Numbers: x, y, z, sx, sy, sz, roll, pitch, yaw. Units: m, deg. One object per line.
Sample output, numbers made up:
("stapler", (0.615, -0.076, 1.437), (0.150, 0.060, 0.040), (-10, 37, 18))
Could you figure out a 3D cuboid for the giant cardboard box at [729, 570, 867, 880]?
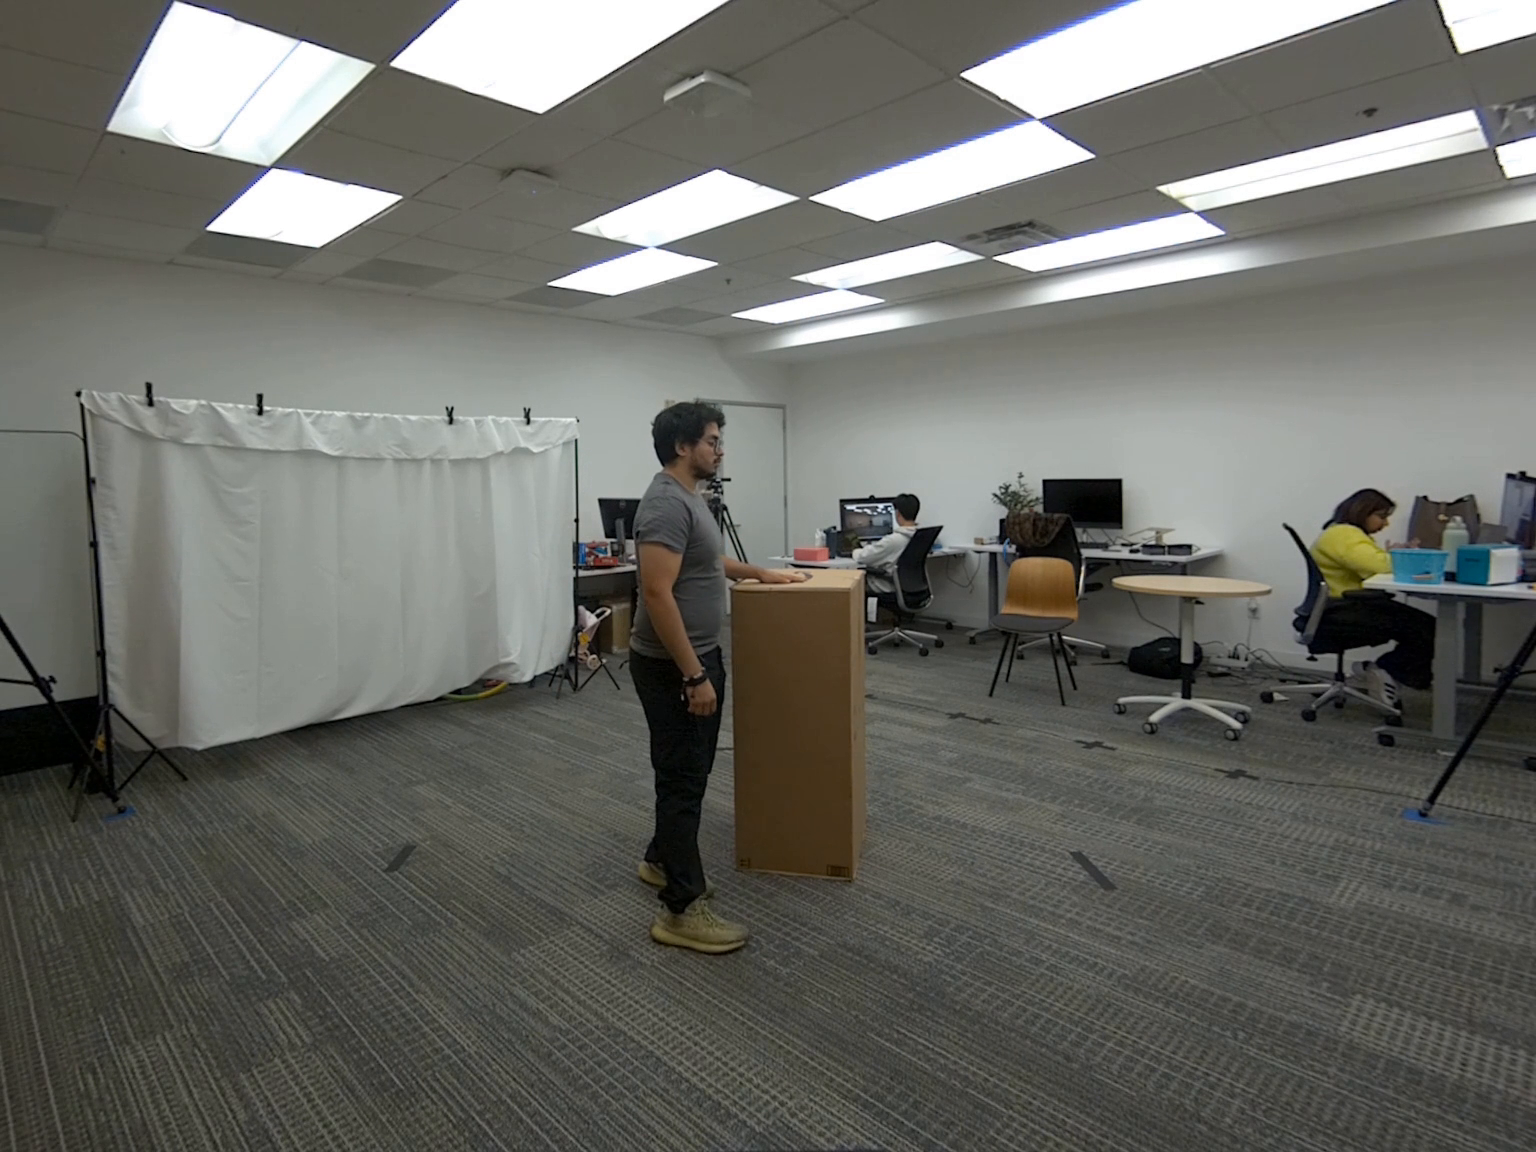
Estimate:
("giant cardboard box", (0.130, 0.512, 3.240), (0.432, 1.021, 0.572), (0, 5, 13))
